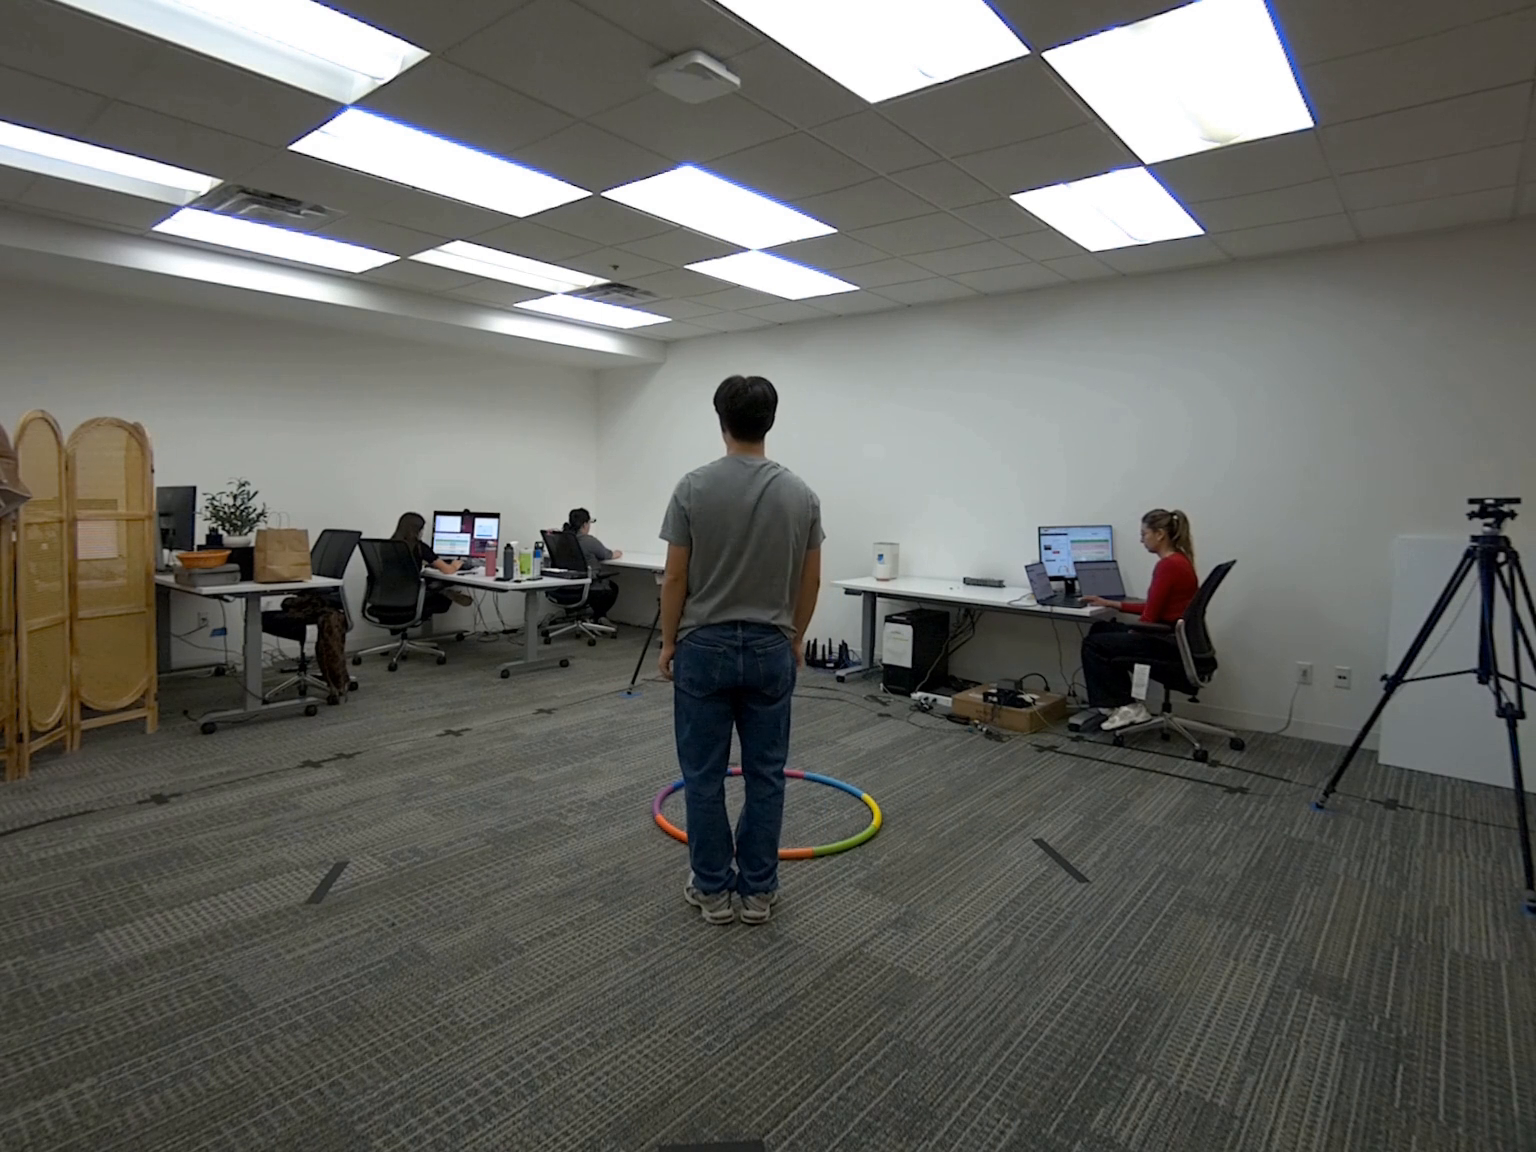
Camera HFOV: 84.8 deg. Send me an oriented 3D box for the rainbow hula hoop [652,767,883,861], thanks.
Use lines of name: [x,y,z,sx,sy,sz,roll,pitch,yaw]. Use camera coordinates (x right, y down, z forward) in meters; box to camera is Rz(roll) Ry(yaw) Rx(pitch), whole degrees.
rainbow hula hoop: [-0.021,0.985,3.667,0.978,0.035,0.984,1,6,-2]
